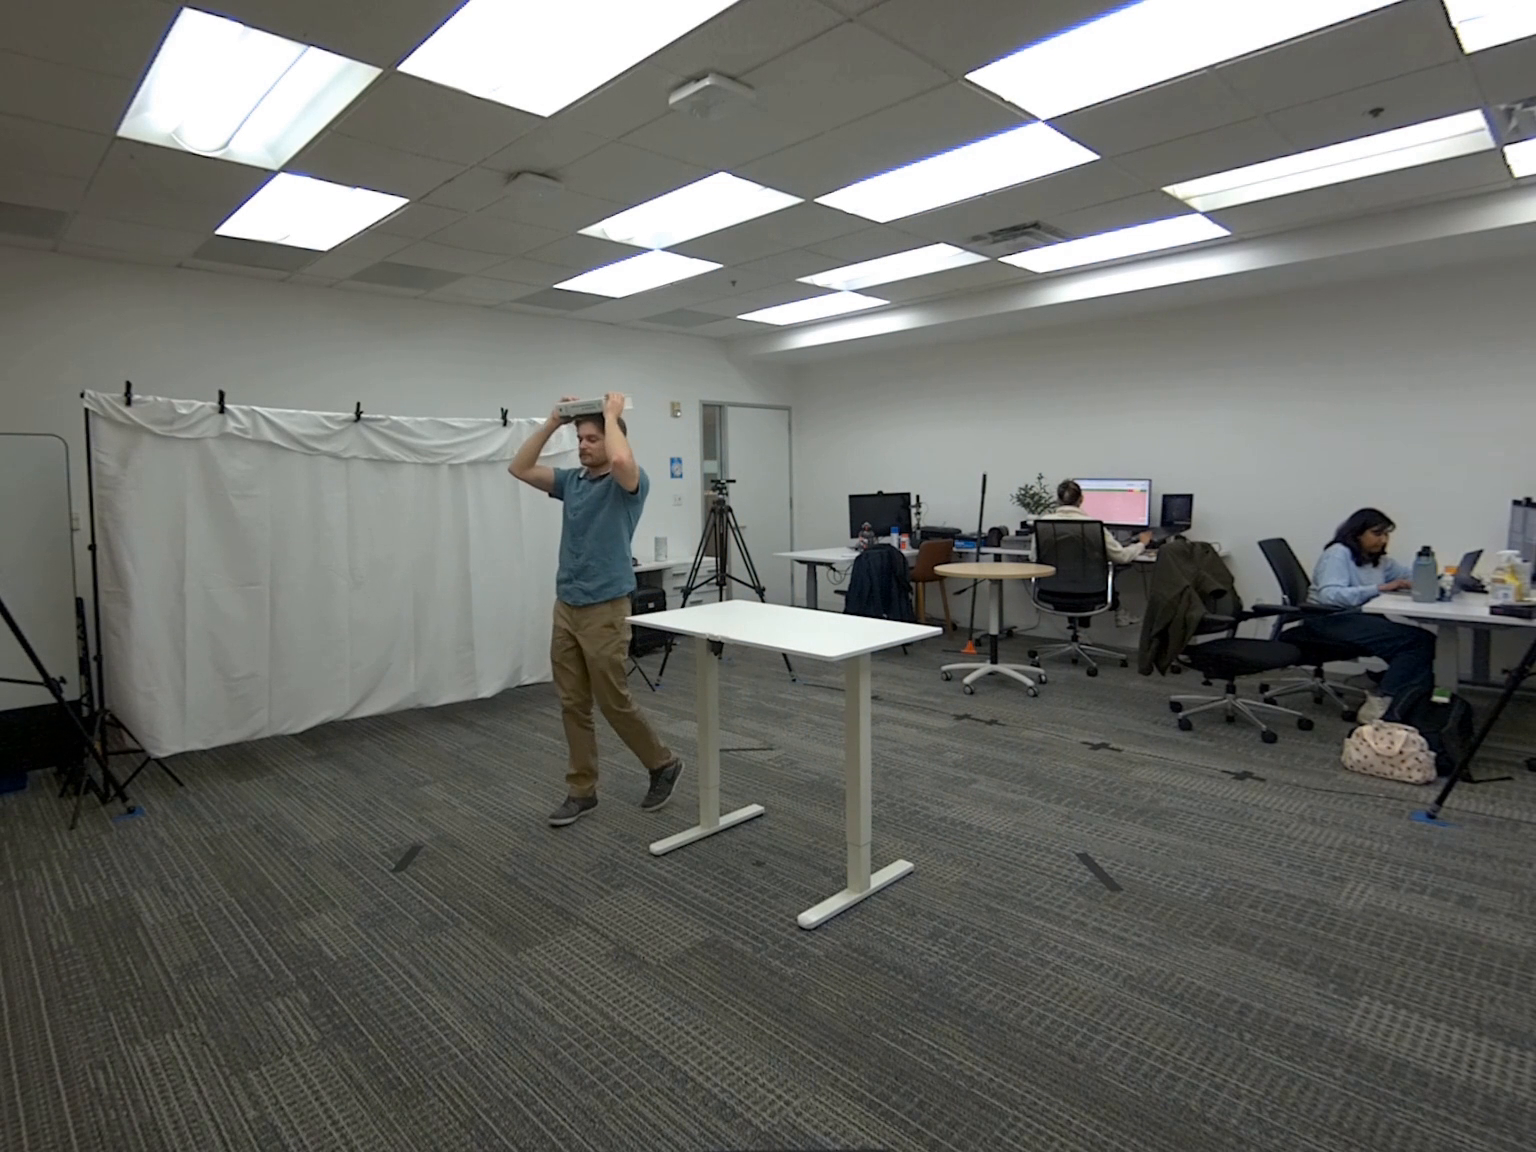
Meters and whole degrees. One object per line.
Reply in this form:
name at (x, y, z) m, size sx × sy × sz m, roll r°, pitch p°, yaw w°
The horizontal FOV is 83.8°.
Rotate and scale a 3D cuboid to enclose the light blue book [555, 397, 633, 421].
light blue book at (-0.724, -0.709, 3.566) m, size 0.268 × 0.058 × 0.188 m, roll 0°, pitch 13°, yaw 30°
